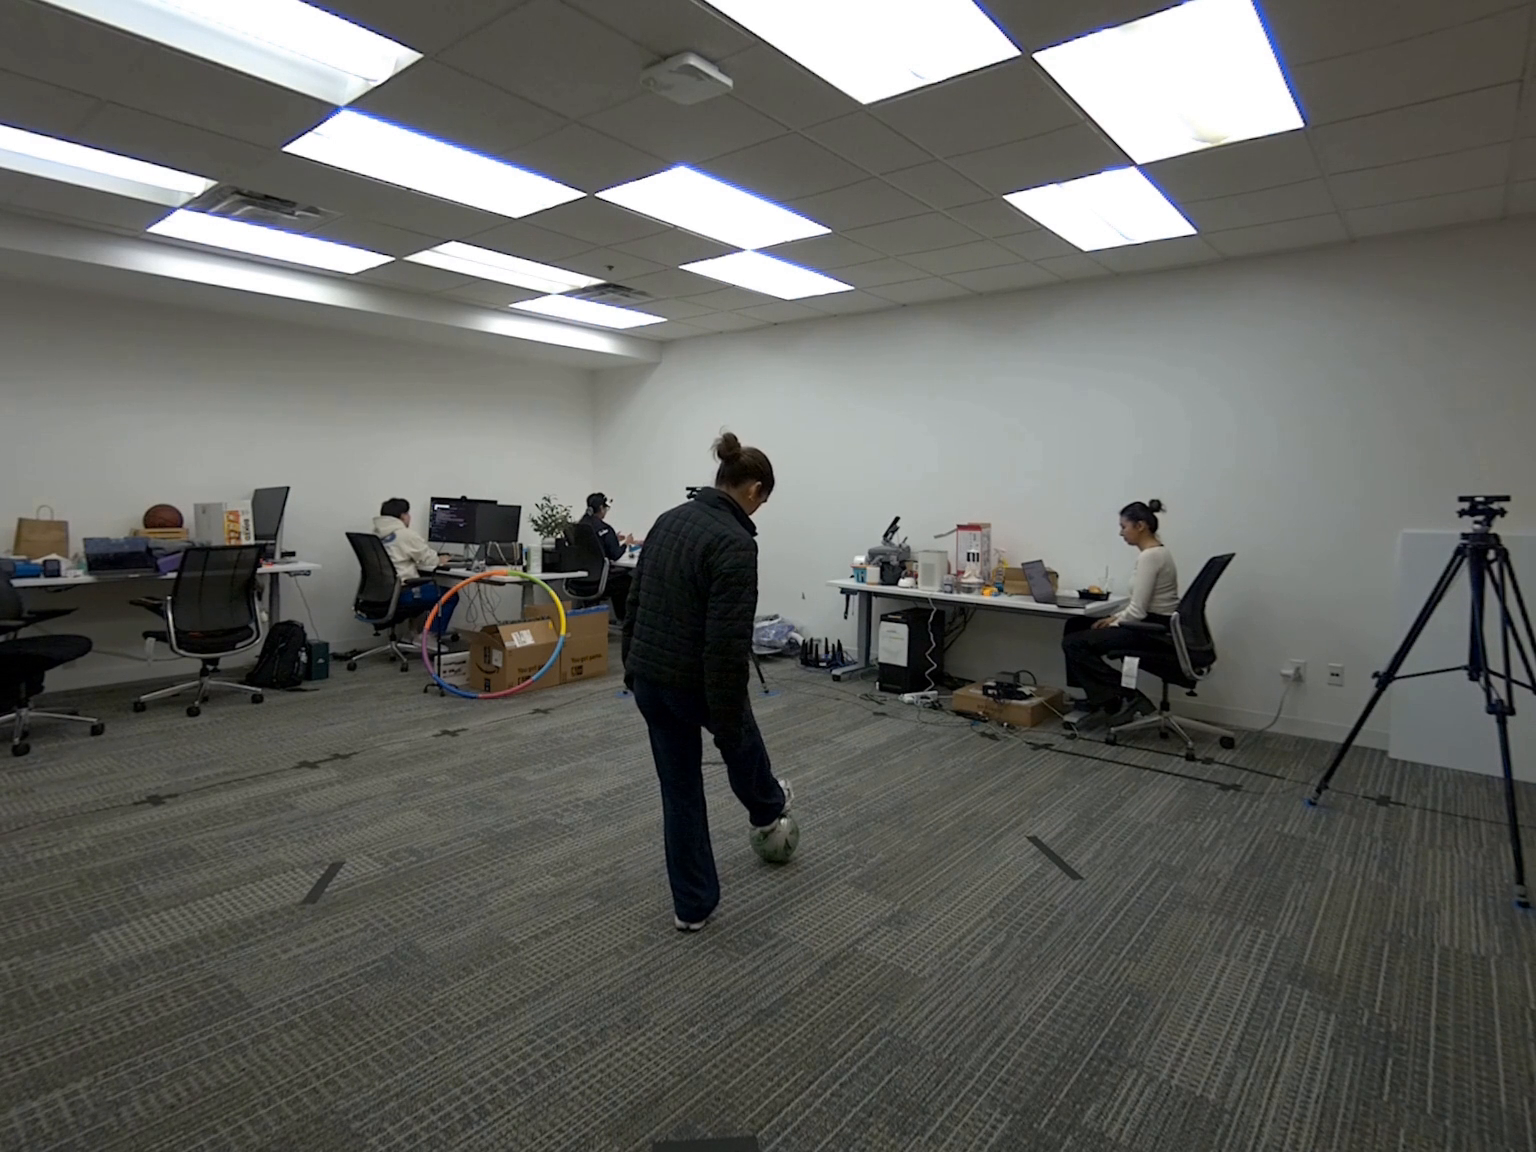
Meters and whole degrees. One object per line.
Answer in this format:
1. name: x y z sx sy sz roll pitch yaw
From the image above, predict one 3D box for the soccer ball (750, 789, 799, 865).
1. soccer ball: 0.015 0.967 3.186 0.187 0.187 0.188 1 4 -2
